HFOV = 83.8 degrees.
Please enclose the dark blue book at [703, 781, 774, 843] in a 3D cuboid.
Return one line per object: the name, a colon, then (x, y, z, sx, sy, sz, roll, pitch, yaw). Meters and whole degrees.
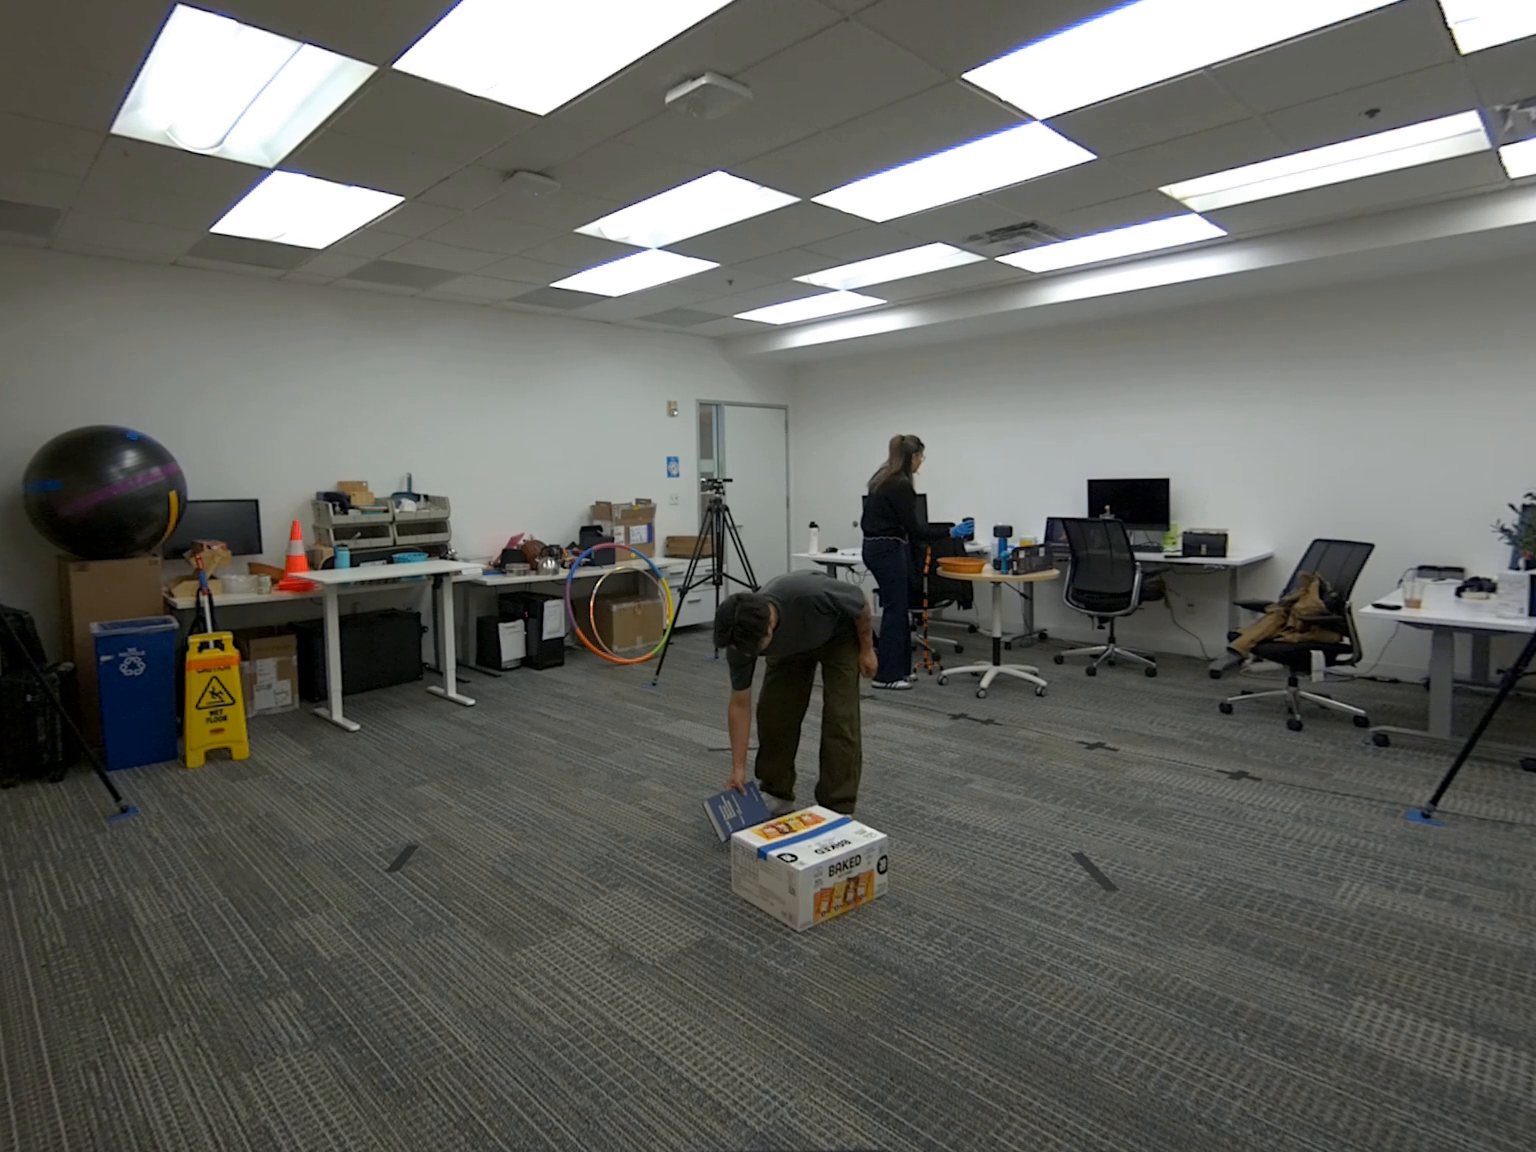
dark blue book: (-0.112, 0.887, 3.237, 0.239, 0.168, 0.045, -8, -33, -42)
